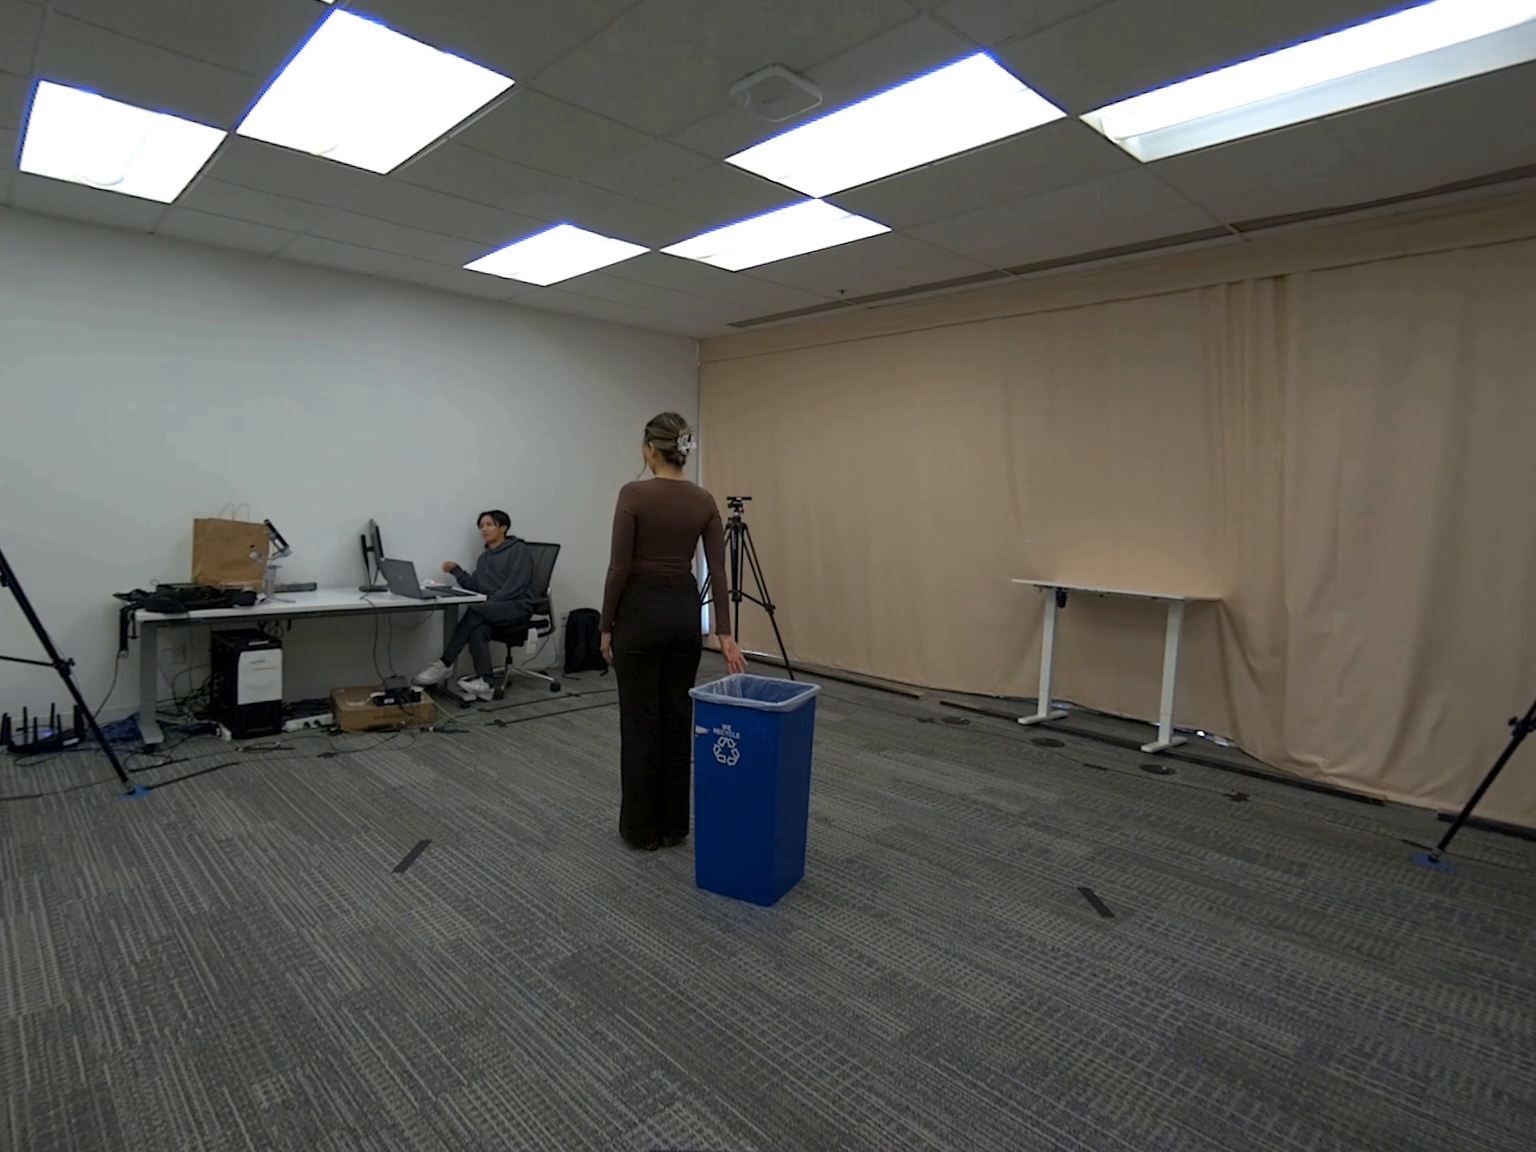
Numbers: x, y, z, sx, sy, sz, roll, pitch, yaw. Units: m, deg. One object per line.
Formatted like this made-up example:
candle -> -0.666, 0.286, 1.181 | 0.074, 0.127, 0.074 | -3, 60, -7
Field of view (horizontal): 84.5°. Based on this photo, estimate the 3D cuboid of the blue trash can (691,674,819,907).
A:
blue trash can -> -0.062, 0.753, 3.048 | 0.386, 0.711, 0.367 | 3, 5, 27
